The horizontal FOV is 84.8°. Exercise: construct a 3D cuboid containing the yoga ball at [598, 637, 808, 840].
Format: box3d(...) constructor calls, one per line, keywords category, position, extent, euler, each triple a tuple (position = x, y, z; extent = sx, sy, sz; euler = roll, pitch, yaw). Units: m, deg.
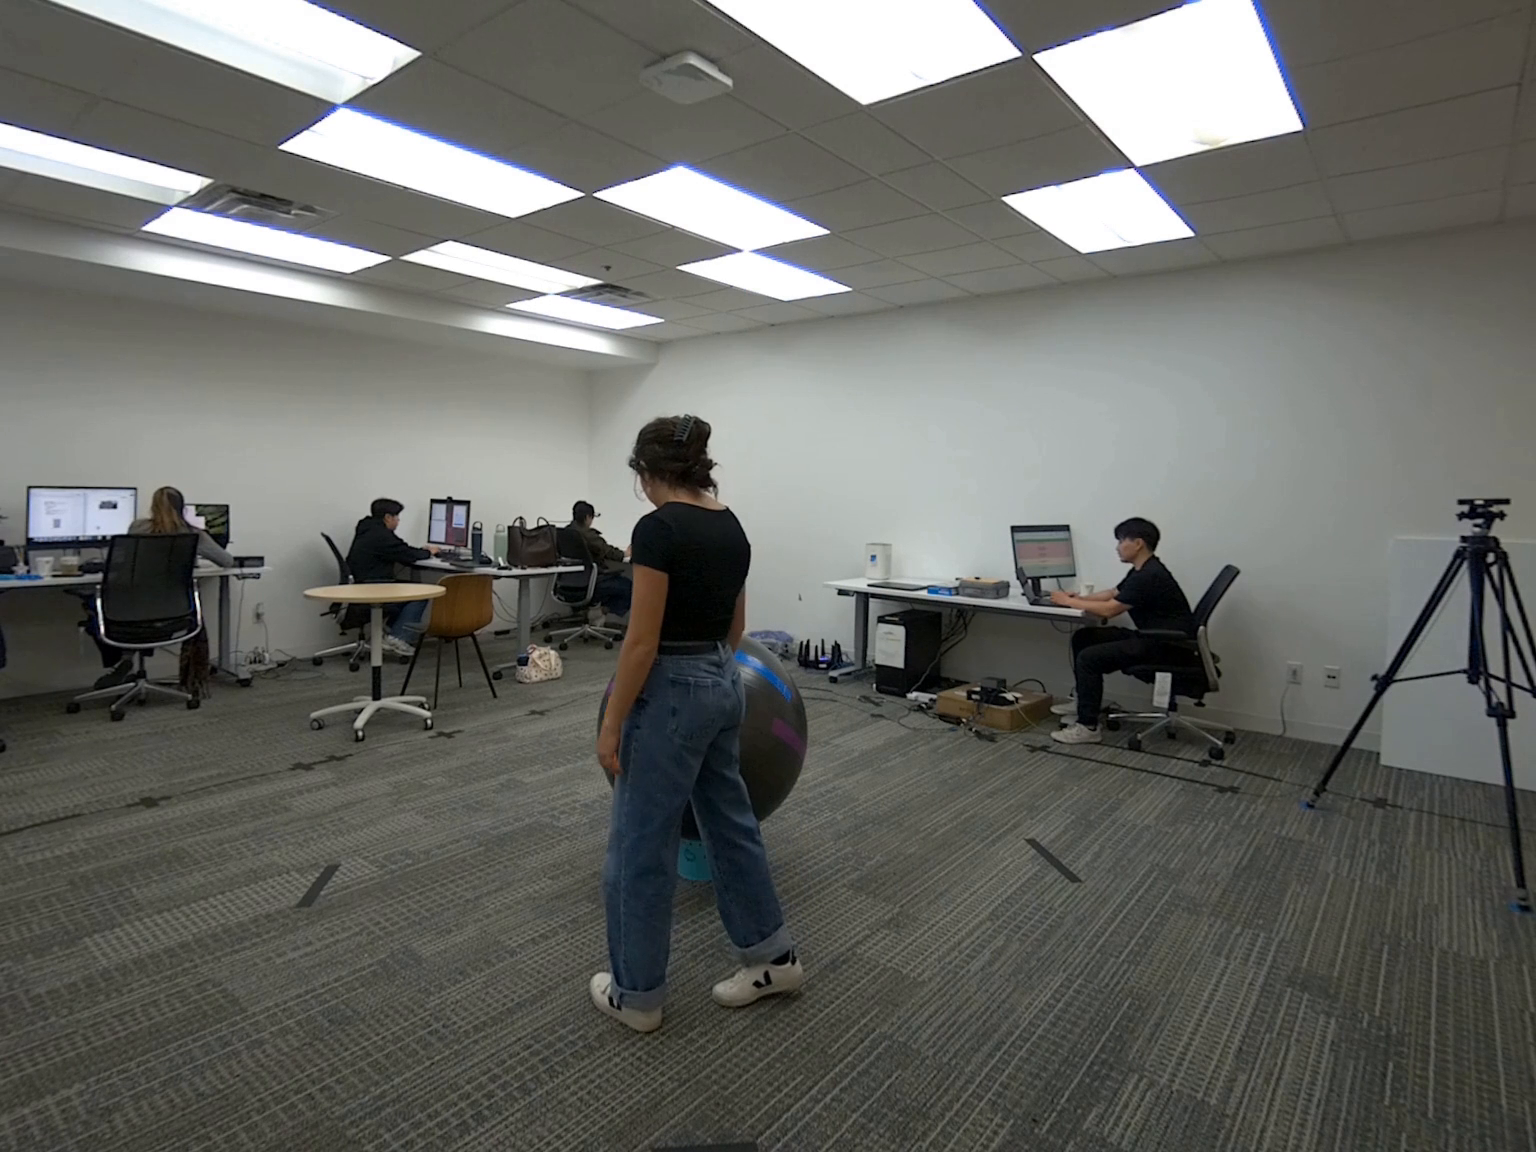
box3d(category="yoga ball", position=(-0.246, 0.559, 3.089), extent=(0.757, 0.756, 0.762), euler=(1, 4, -2))
